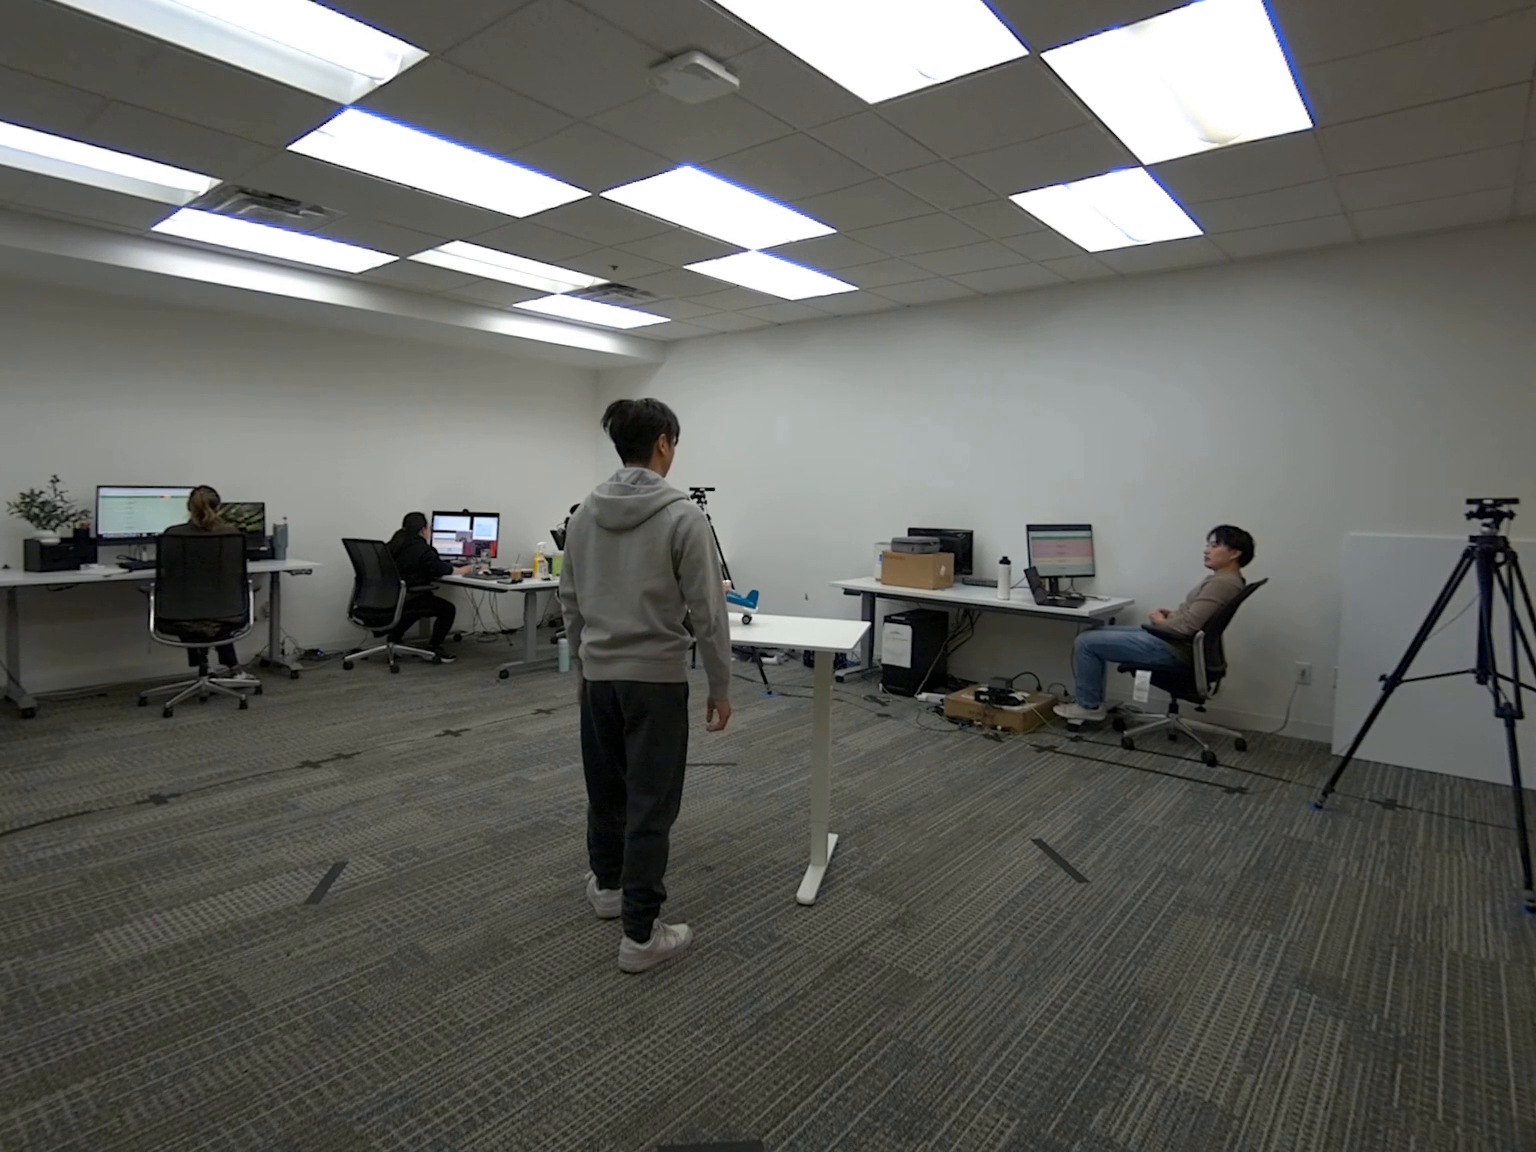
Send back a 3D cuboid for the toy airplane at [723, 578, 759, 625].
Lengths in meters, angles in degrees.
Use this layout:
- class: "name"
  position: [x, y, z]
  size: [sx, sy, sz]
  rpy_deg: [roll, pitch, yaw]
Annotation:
- class: "toy airplane"
  position: [-0.178, 0.096, 3.246]
  size: [0.254, 0.156, 0.257]
  rpy_deg: [0, 6, -20]
